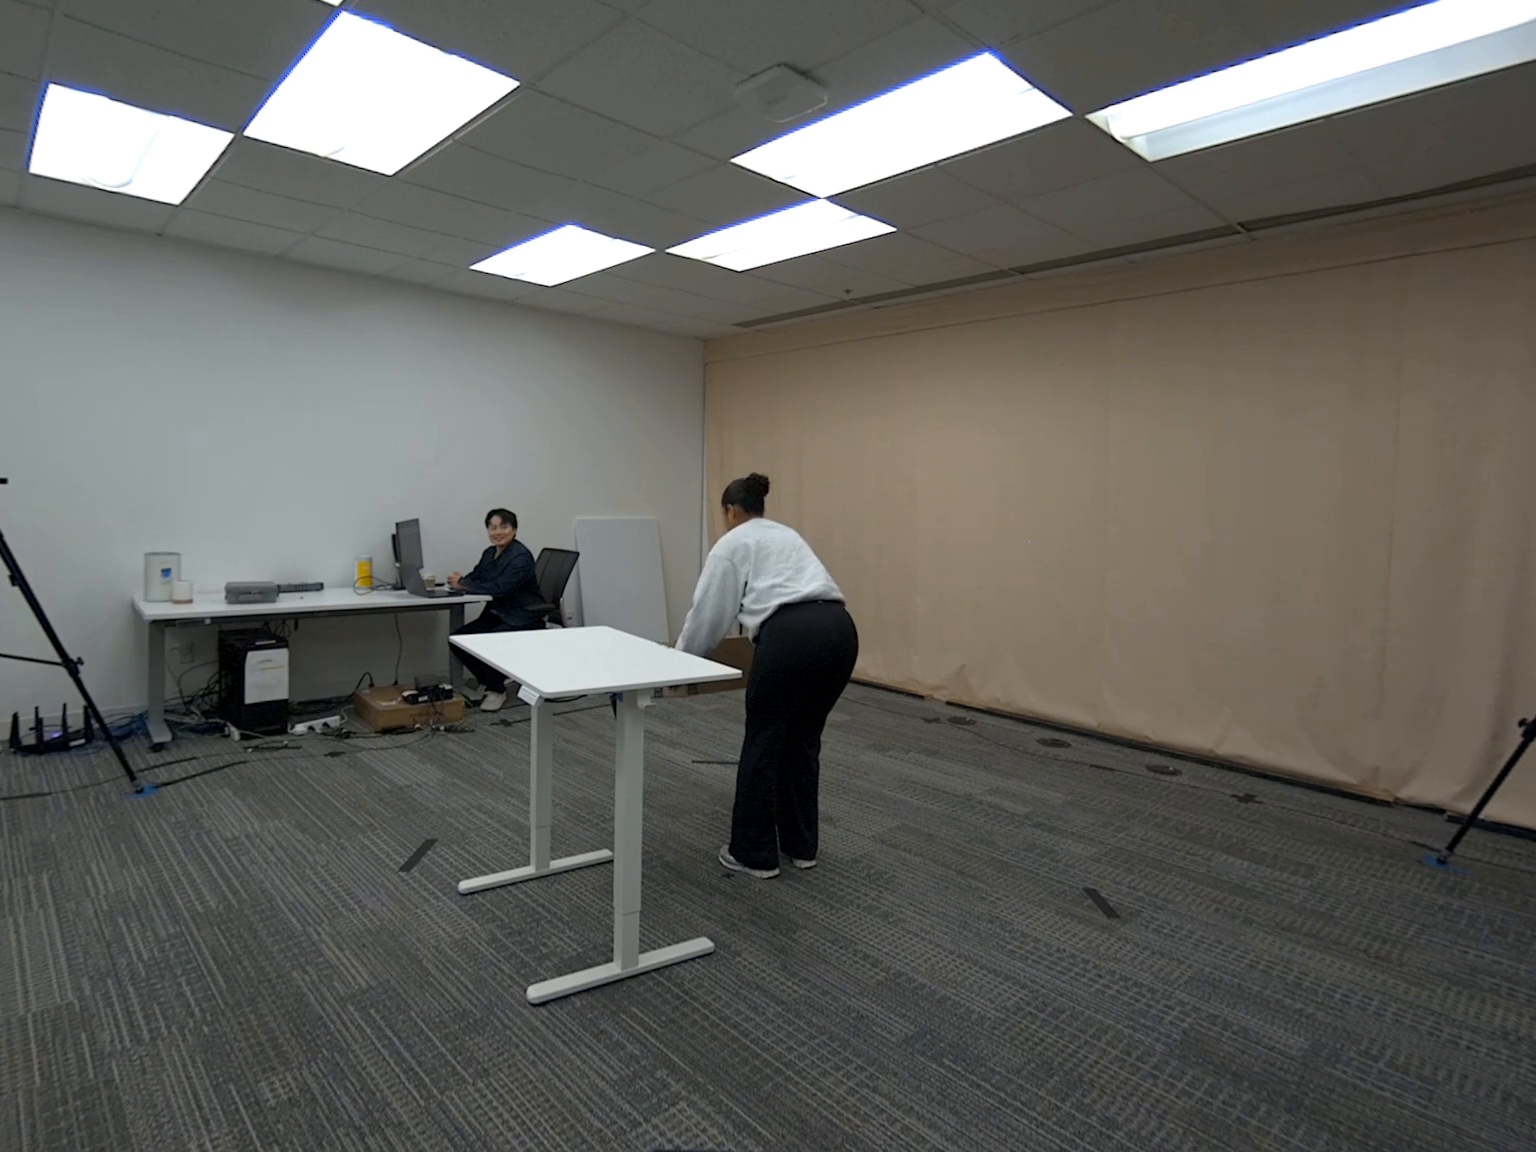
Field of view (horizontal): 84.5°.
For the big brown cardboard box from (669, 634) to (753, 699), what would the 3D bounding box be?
[{"bbox_3d":[-0.237,0.387,3.604,0.576,0.234,0.425,-2,-6,-39],"label":"big brown cardboard box"}]
